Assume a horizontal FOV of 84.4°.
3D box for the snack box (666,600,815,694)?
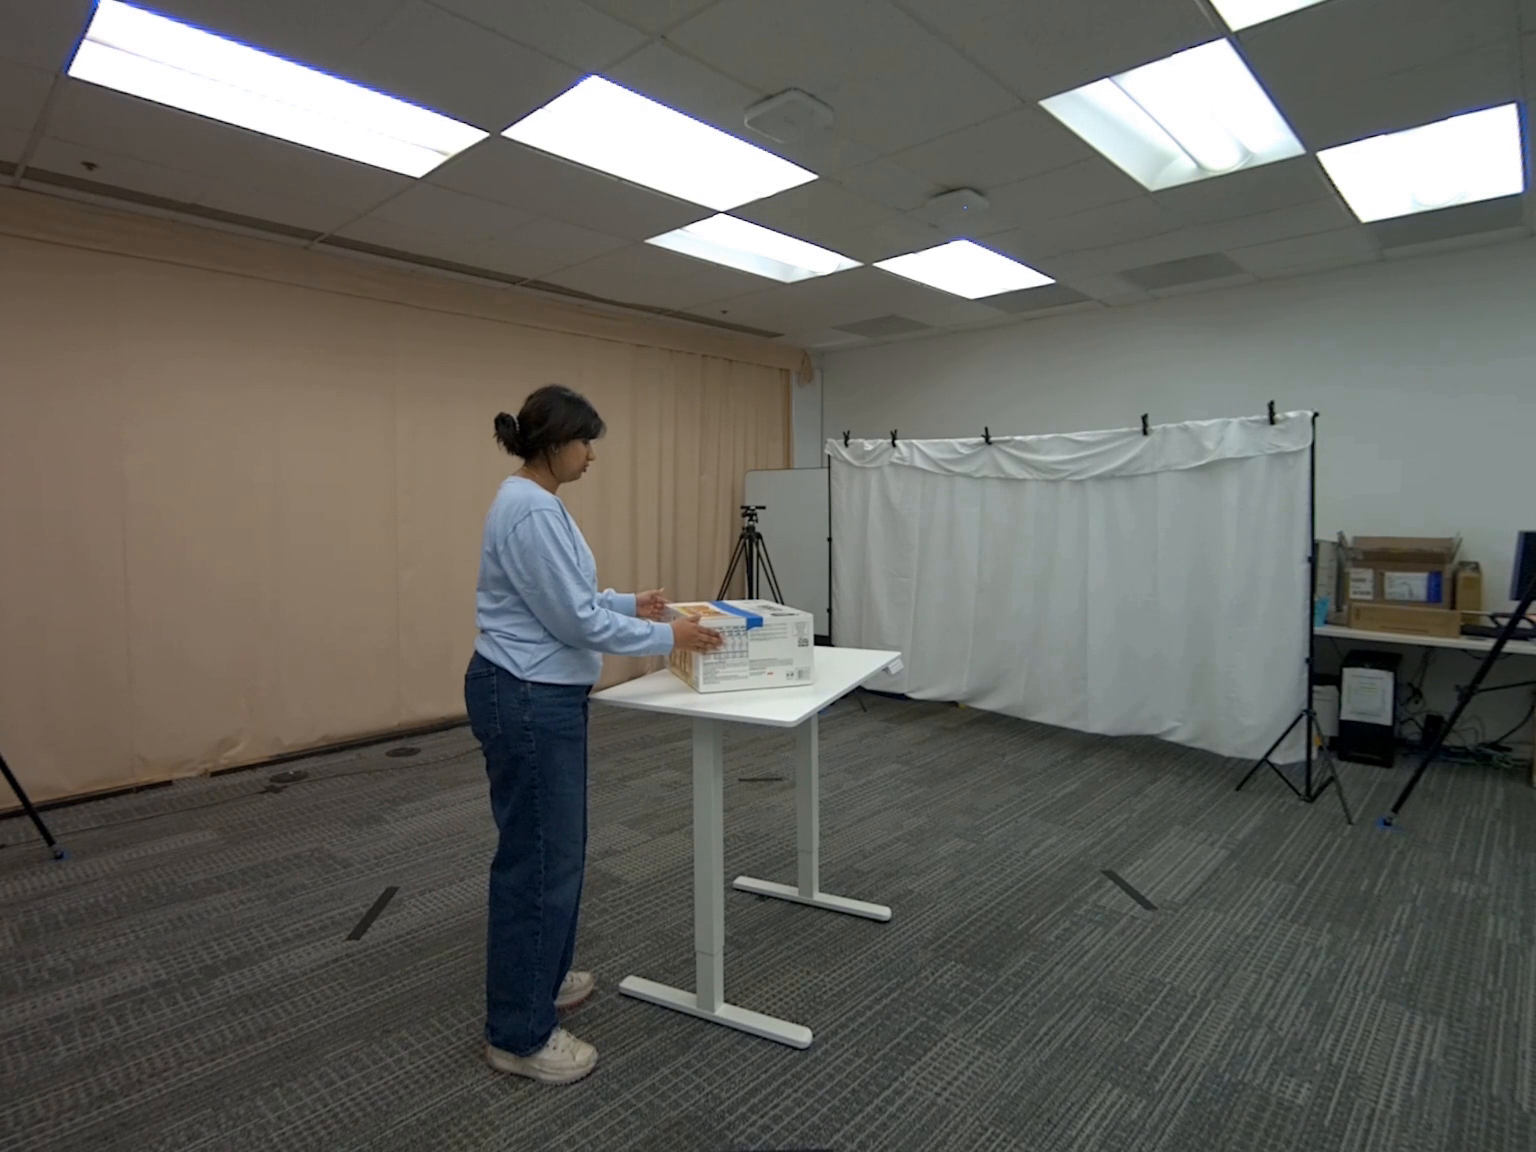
[{"bbox_3d":[-0.097,0.200,2.525,0.334,0.205,0.414,-2,5,-19],"label":"snack box"}]
